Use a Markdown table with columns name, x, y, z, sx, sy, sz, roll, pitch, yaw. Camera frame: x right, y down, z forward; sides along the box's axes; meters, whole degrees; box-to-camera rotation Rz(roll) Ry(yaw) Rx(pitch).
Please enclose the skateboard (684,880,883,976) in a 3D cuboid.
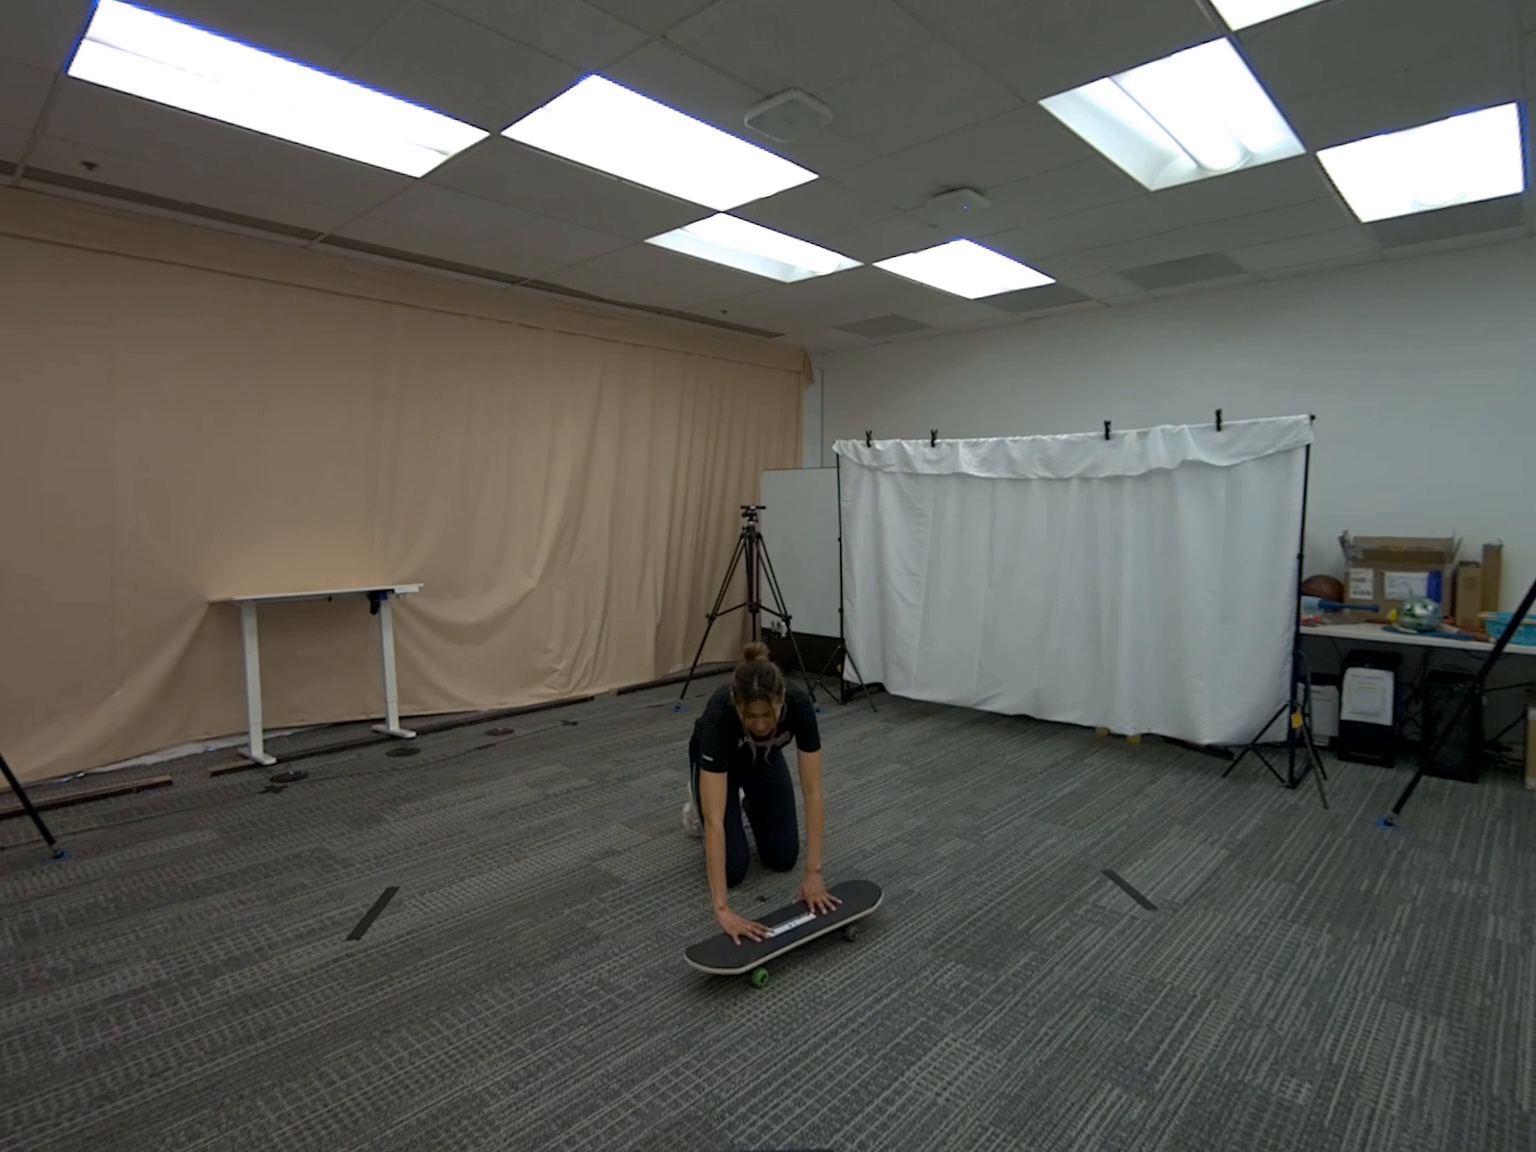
| name | x | y | z | sx | sy | sz | roll | pitch | yaw |
| --- | --- | --- | --- | --- | --- | --- | --- | --- | --- |
| skateboard | 0.066 | 1.115 | 2.626 | 0.762 | 0.110 | 0.200 | -4 | 6 | -41 |
